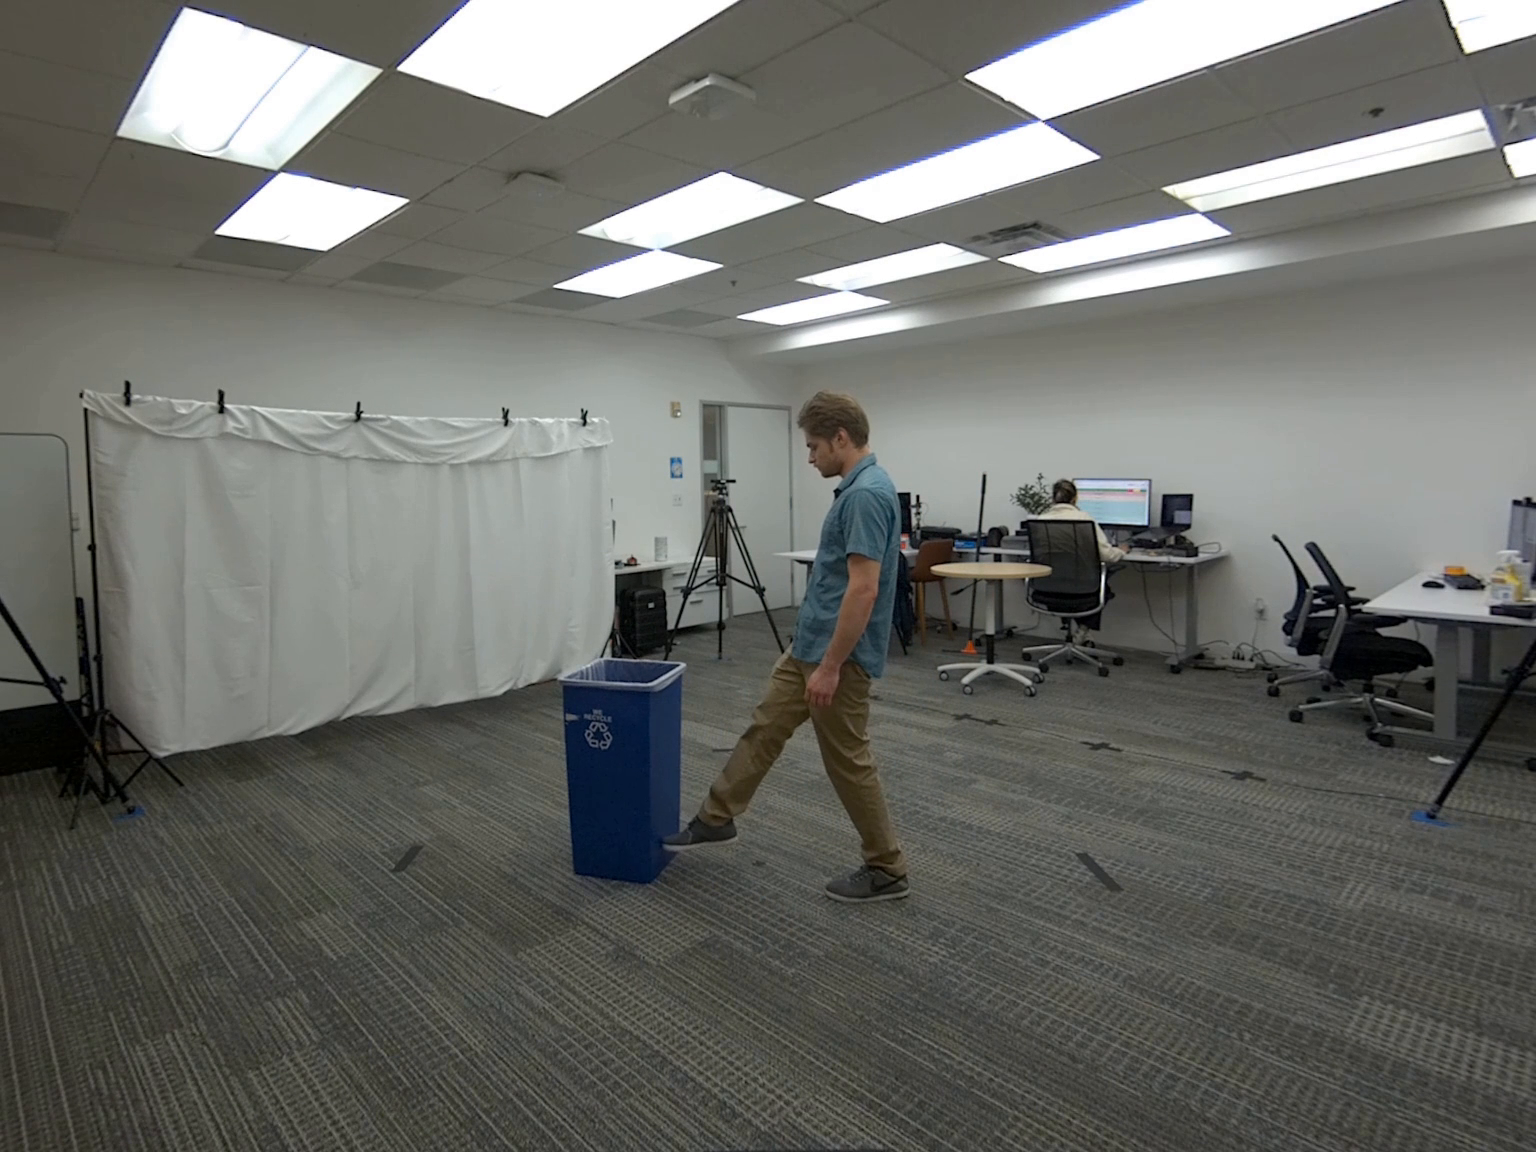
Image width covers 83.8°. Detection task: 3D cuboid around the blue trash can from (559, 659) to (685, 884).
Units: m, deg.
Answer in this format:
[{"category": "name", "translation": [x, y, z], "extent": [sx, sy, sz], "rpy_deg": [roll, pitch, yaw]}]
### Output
[{"category": "blue trash can", "translation": [-0.513, 0.698, 3.129], "extent": [0.380, 0.711, 0.373], "rpy_deg": [0, 5, 16]}]
